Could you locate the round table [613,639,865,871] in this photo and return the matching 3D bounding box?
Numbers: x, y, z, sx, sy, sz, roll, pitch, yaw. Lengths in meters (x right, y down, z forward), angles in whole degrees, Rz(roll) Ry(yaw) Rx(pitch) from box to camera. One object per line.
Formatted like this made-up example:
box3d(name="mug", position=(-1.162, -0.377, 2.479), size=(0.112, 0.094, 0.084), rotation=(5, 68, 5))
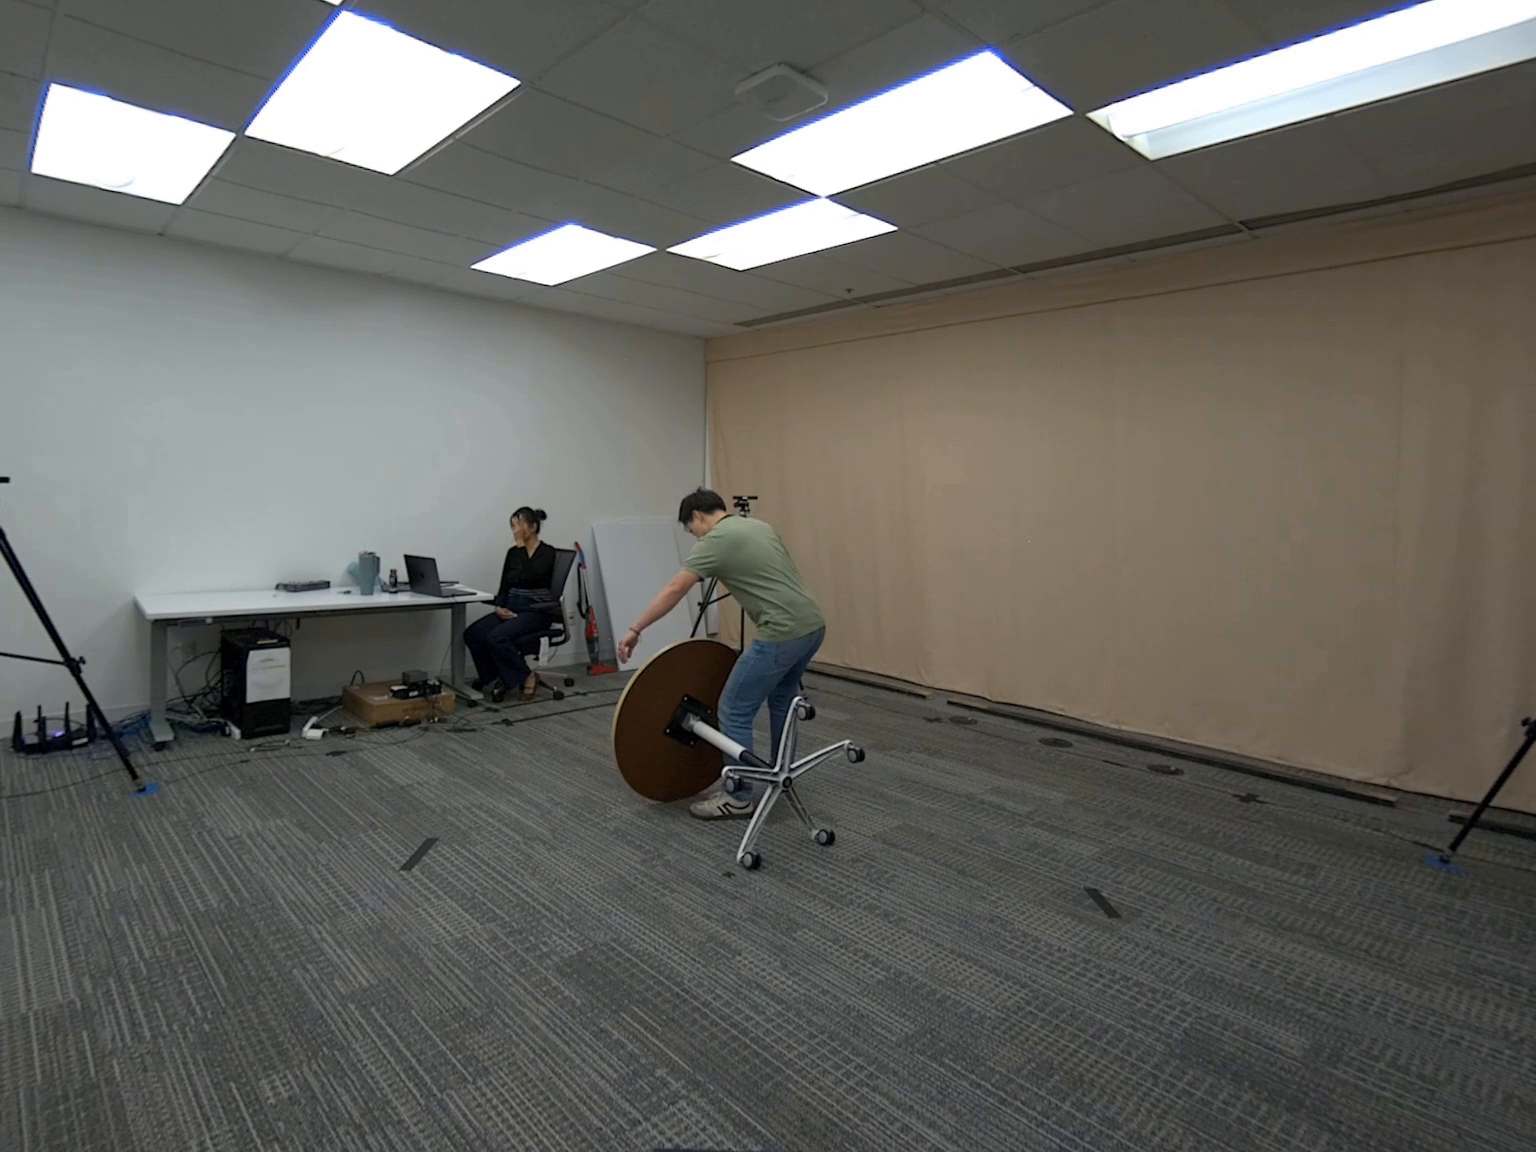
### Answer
box3d(name="round table", position=(-0.135, 0.738, 3.514), size=(0.747, 0.759, 0.817), rotation=(-2, 12, -39))
